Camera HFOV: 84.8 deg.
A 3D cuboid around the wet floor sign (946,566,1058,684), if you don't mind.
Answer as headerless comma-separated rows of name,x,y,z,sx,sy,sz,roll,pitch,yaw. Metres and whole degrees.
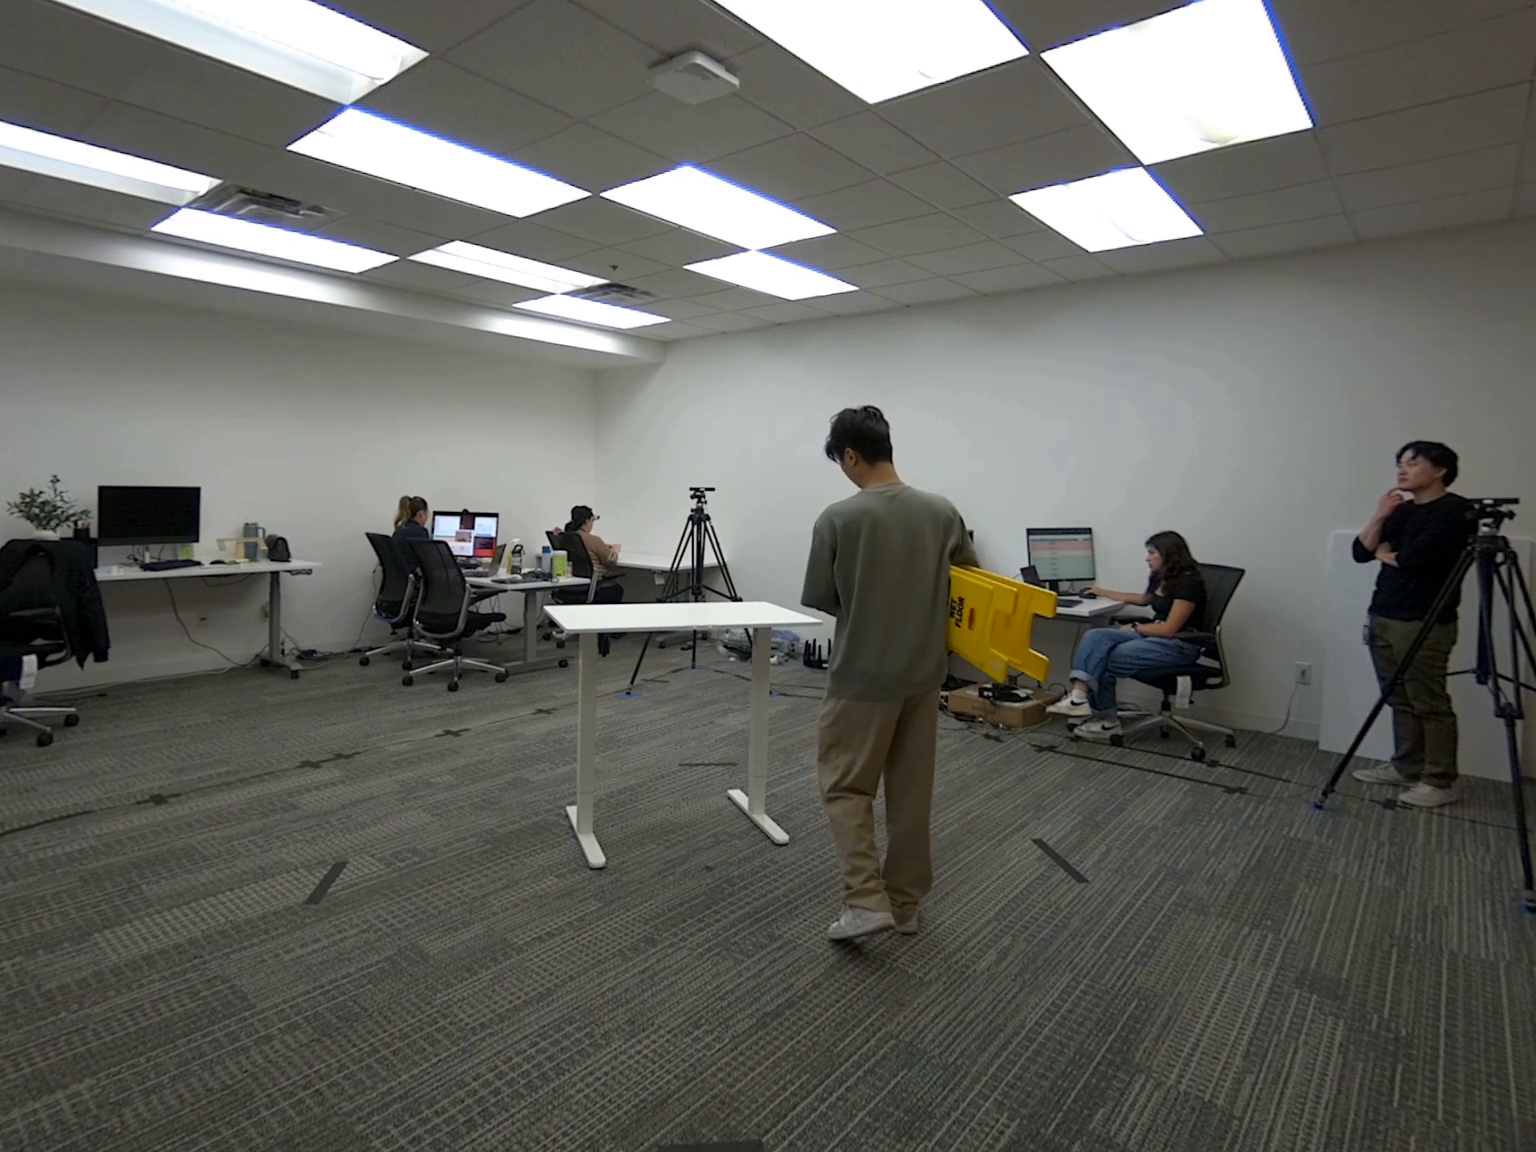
wet floor sign,0.567,0.091,2.693,0.282,0.279,0.670,0,16,-28
